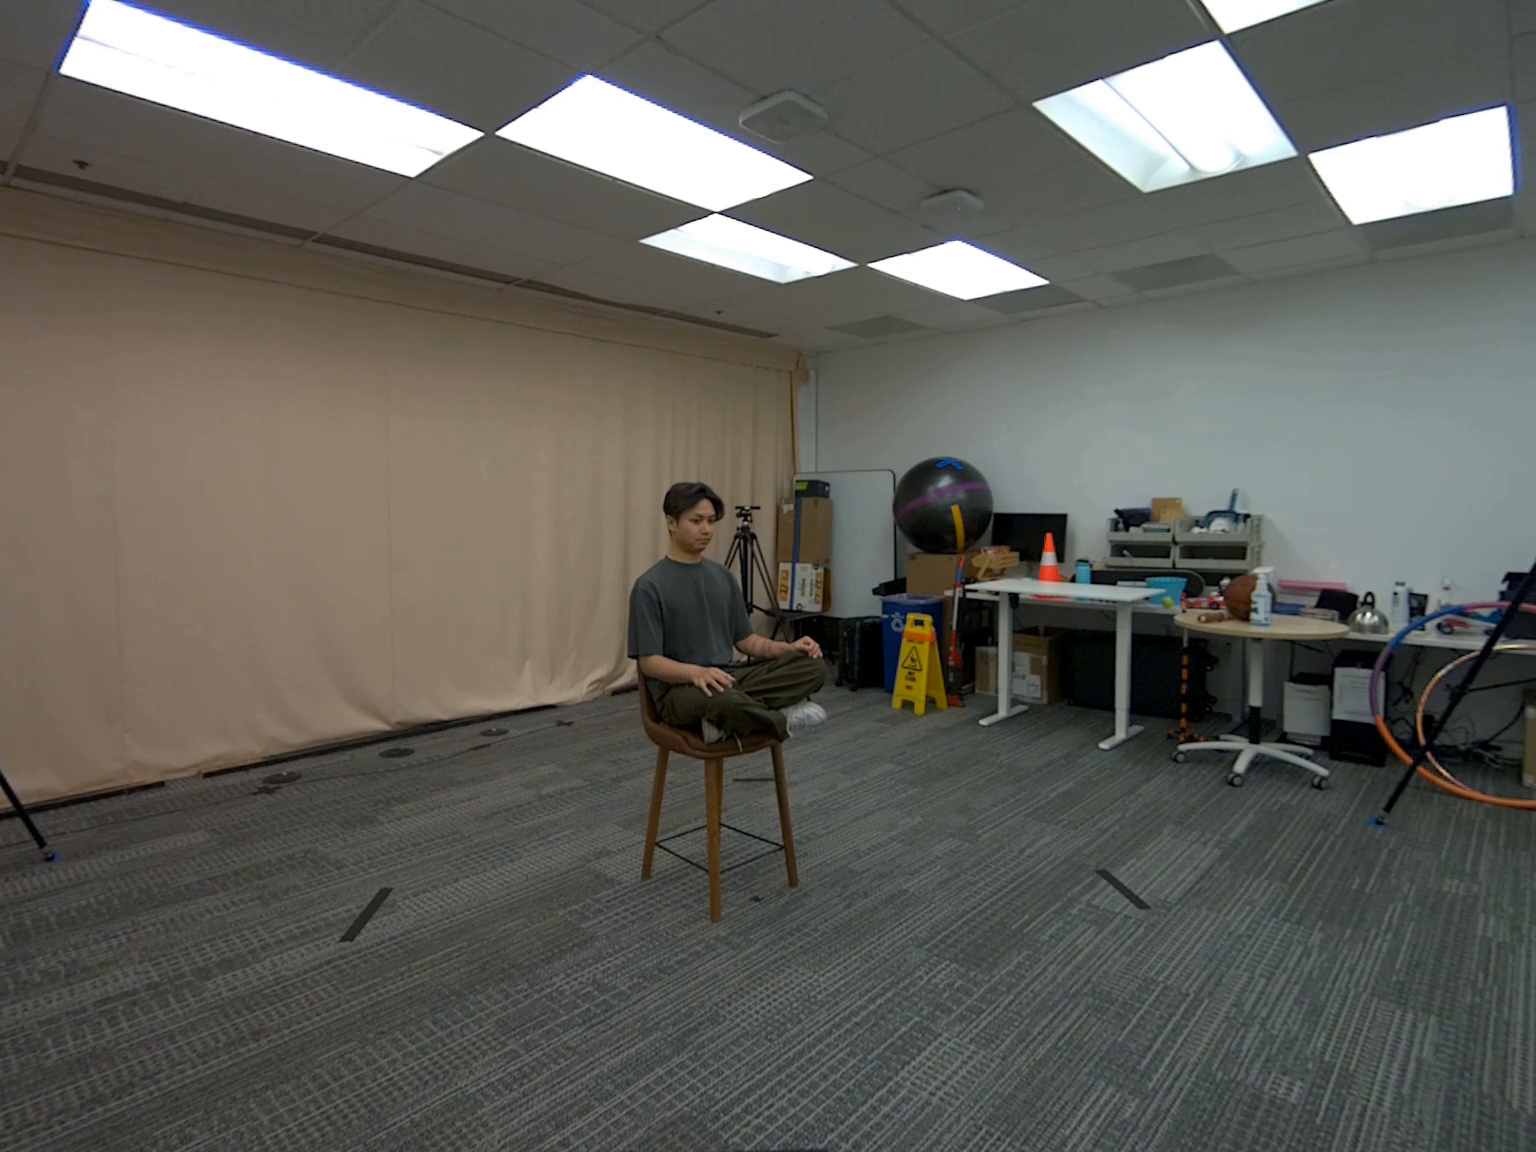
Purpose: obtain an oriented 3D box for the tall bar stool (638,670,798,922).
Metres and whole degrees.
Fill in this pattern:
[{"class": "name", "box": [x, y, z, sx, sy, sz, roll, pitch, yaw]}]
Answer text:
[{"class": "tall bar stool", "box": [-0.196, 0.700, 3.102, 0.442, 0.889, 0.482, -4, 2, -43]}]
